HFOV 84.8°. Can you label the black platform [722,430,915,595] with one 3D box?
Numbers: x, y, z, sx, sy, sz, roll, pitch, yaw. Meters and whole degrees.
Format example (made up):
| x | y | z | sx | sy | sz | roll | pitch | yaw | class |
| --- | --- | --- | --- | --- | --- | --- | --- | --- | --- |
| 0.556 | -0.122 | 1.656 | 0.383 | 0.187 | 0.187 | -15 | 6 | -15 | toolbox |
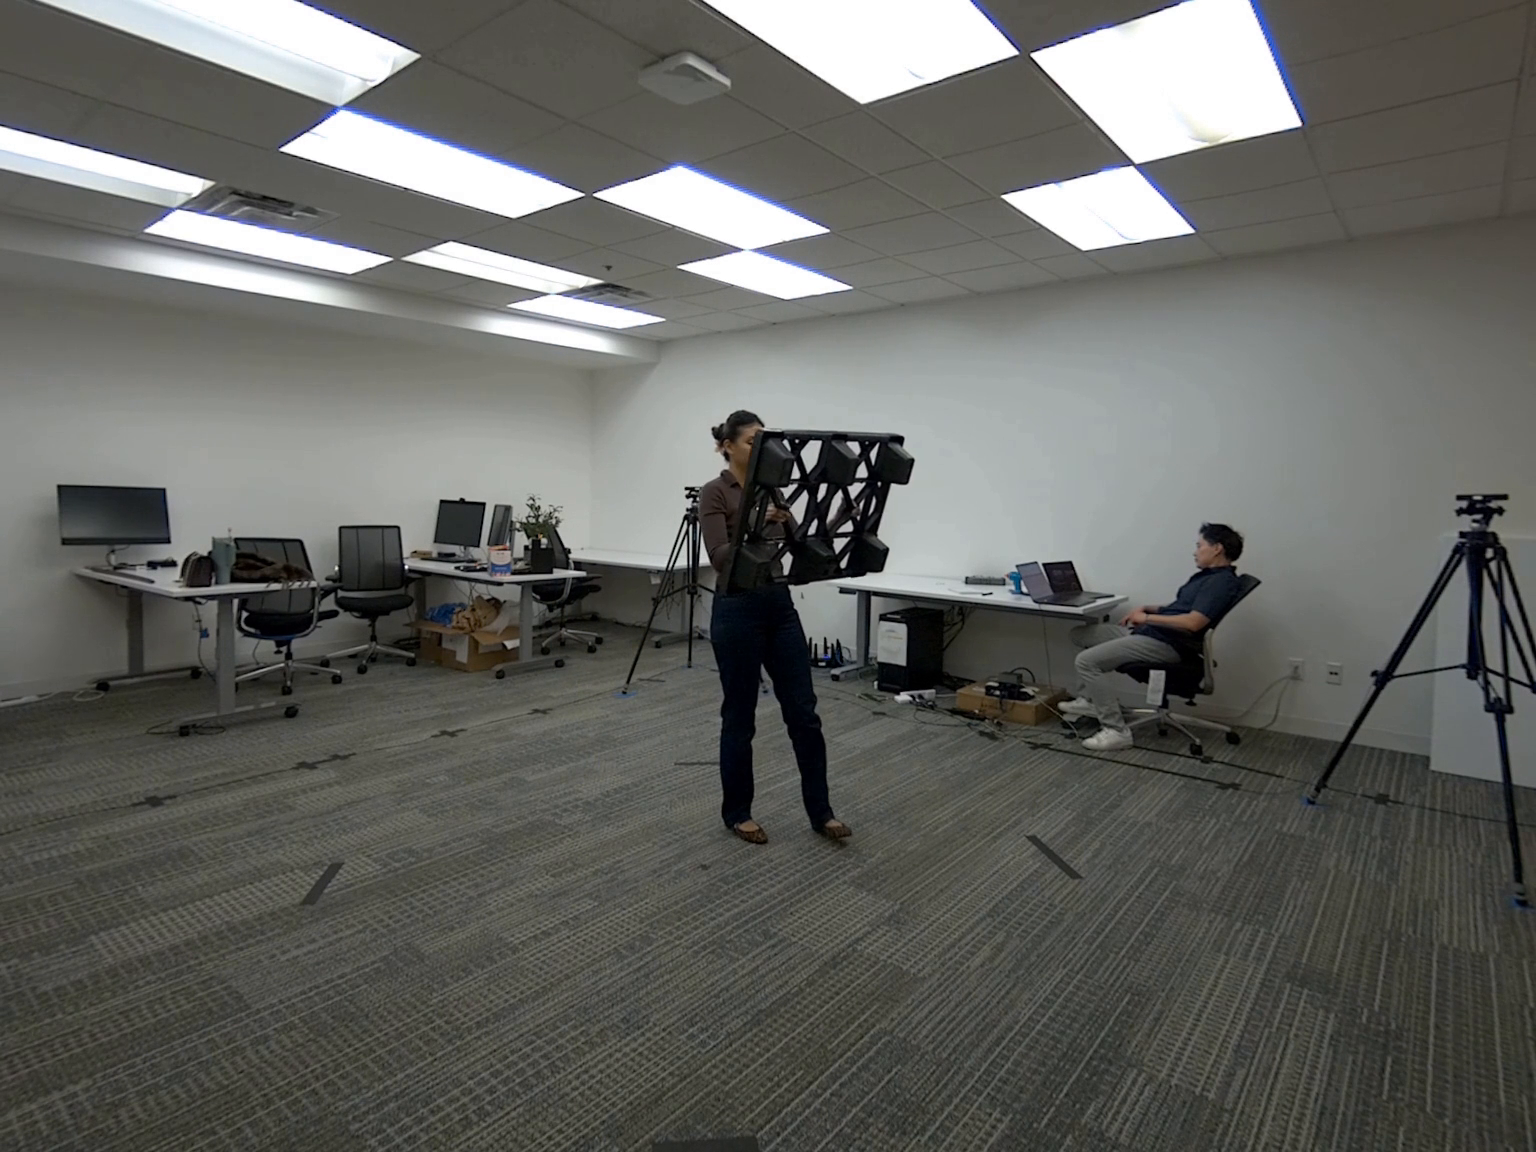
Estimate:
| x | y | z | sx | sy | sz | roll | pitch | yaw | class |
| --- | --- | --- | --- | --- | --- | --- | --- | --- | --- |
| 0.207 | -0.234 | 3.132 | 0.782 | 0.597 | 0.149 | -6 | 26 | -43 | black platform |
